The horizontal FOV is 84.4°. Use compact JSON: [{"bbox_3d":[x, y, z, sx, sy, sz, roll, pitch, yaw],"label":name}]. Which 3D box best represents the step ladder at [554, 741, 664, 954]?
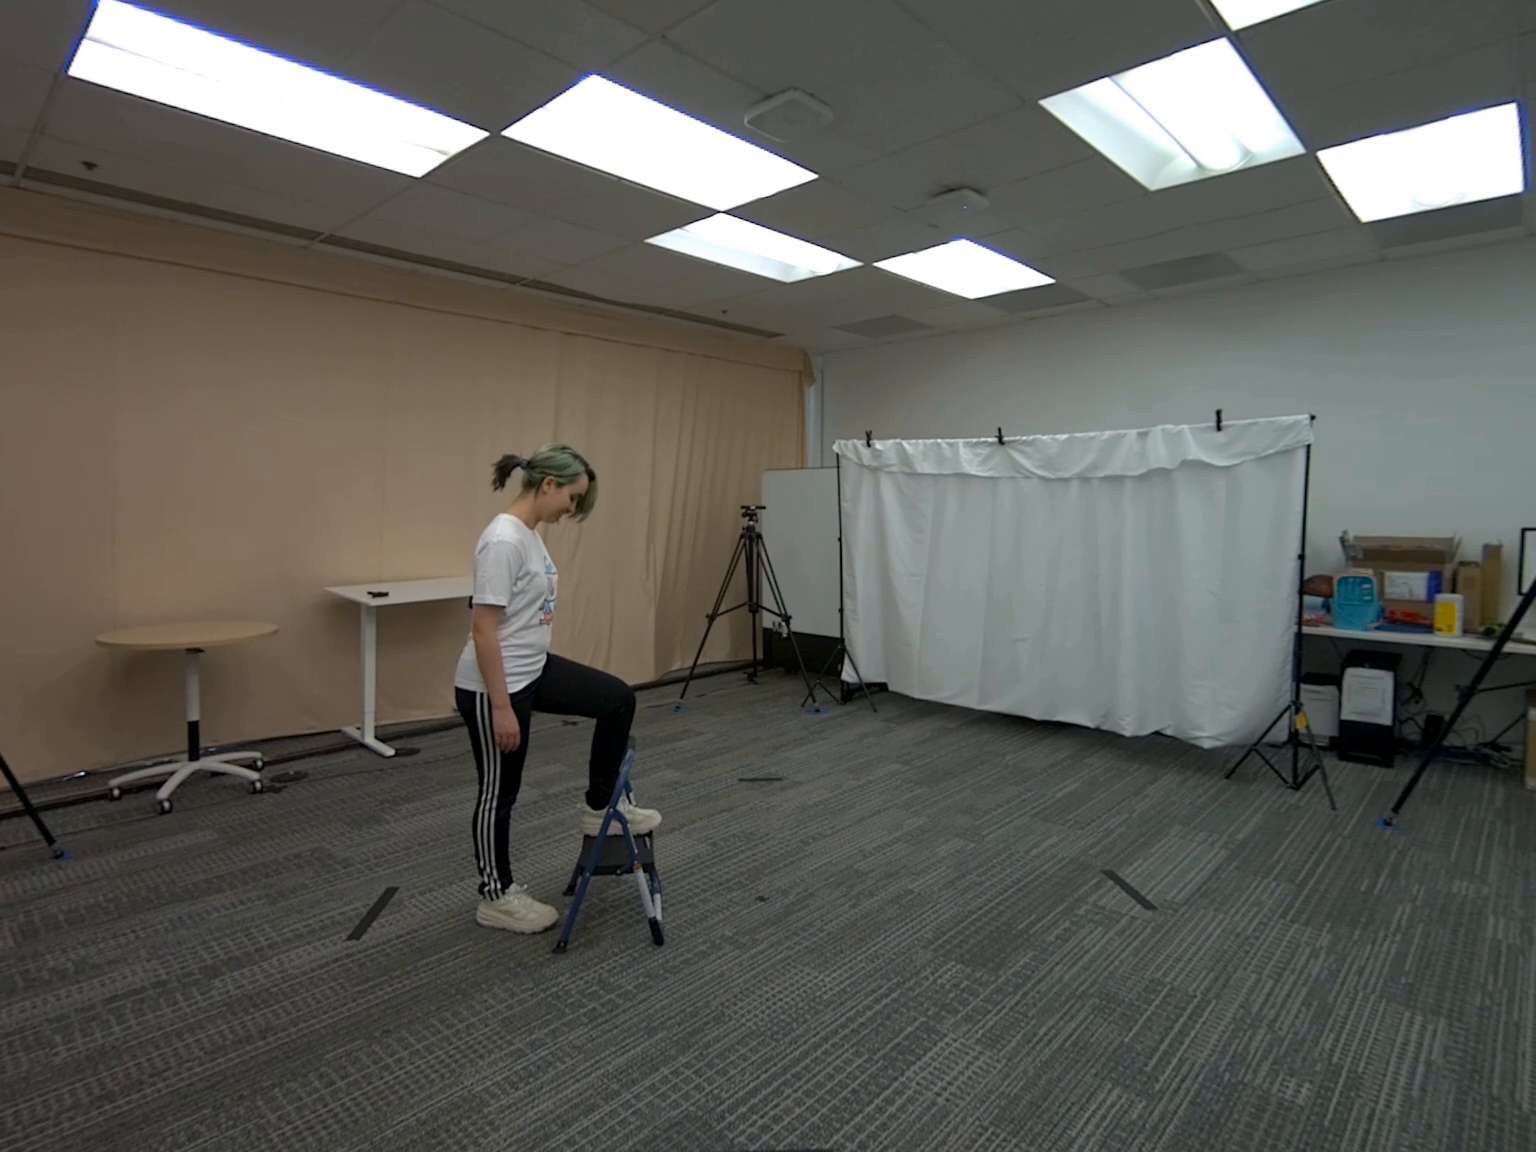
[{"bbox_3d":[-0.532,0.865,2.833,0.347,0.605,0.435,-1,4,-8],"label":"step ladder"}]
